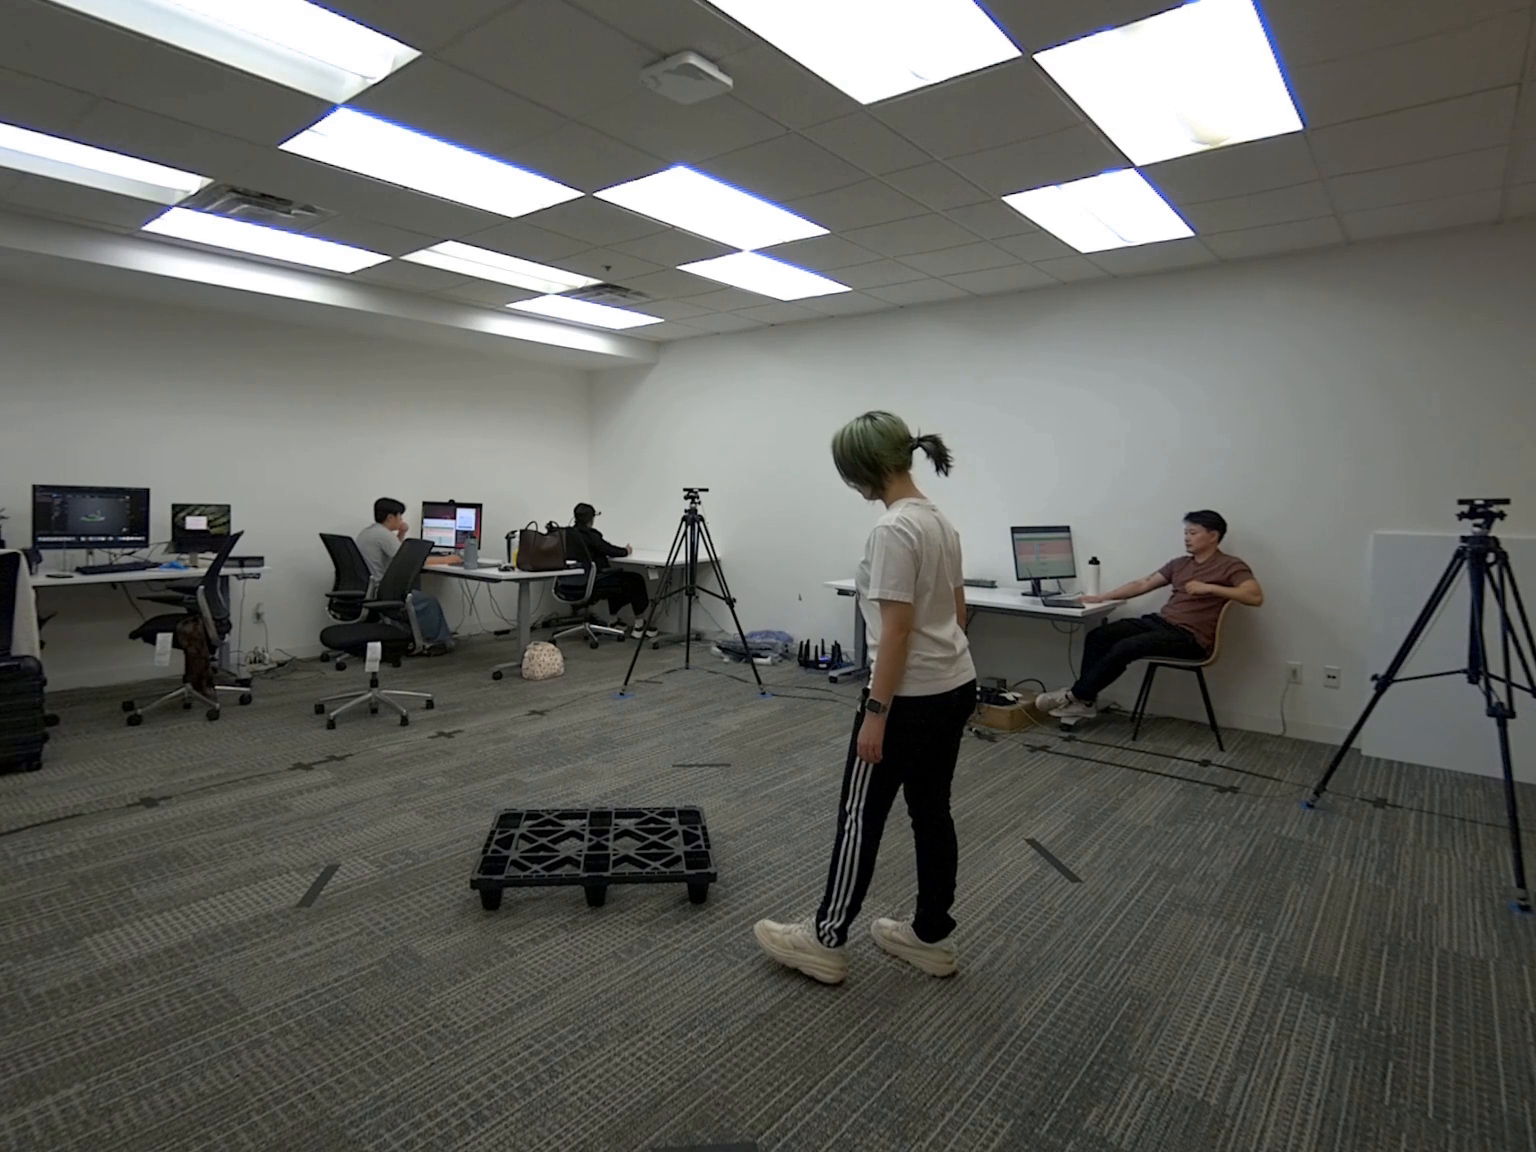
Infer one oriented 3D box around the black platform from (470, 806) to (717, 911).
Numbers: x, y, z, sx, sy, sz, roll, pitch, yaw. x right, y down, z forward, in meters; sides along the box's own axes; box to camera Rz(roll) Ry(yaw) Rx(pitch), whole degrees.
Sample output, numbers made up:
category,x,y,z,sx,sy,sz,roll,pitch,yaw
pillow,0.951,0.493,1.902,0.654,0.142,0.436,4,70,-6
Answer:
category,x,y,z,sx,sy,sz,roll,pitch,yaw
black platform,-0.611,1.000,3.039,0.800,0.143,0.612,0,6,-7
